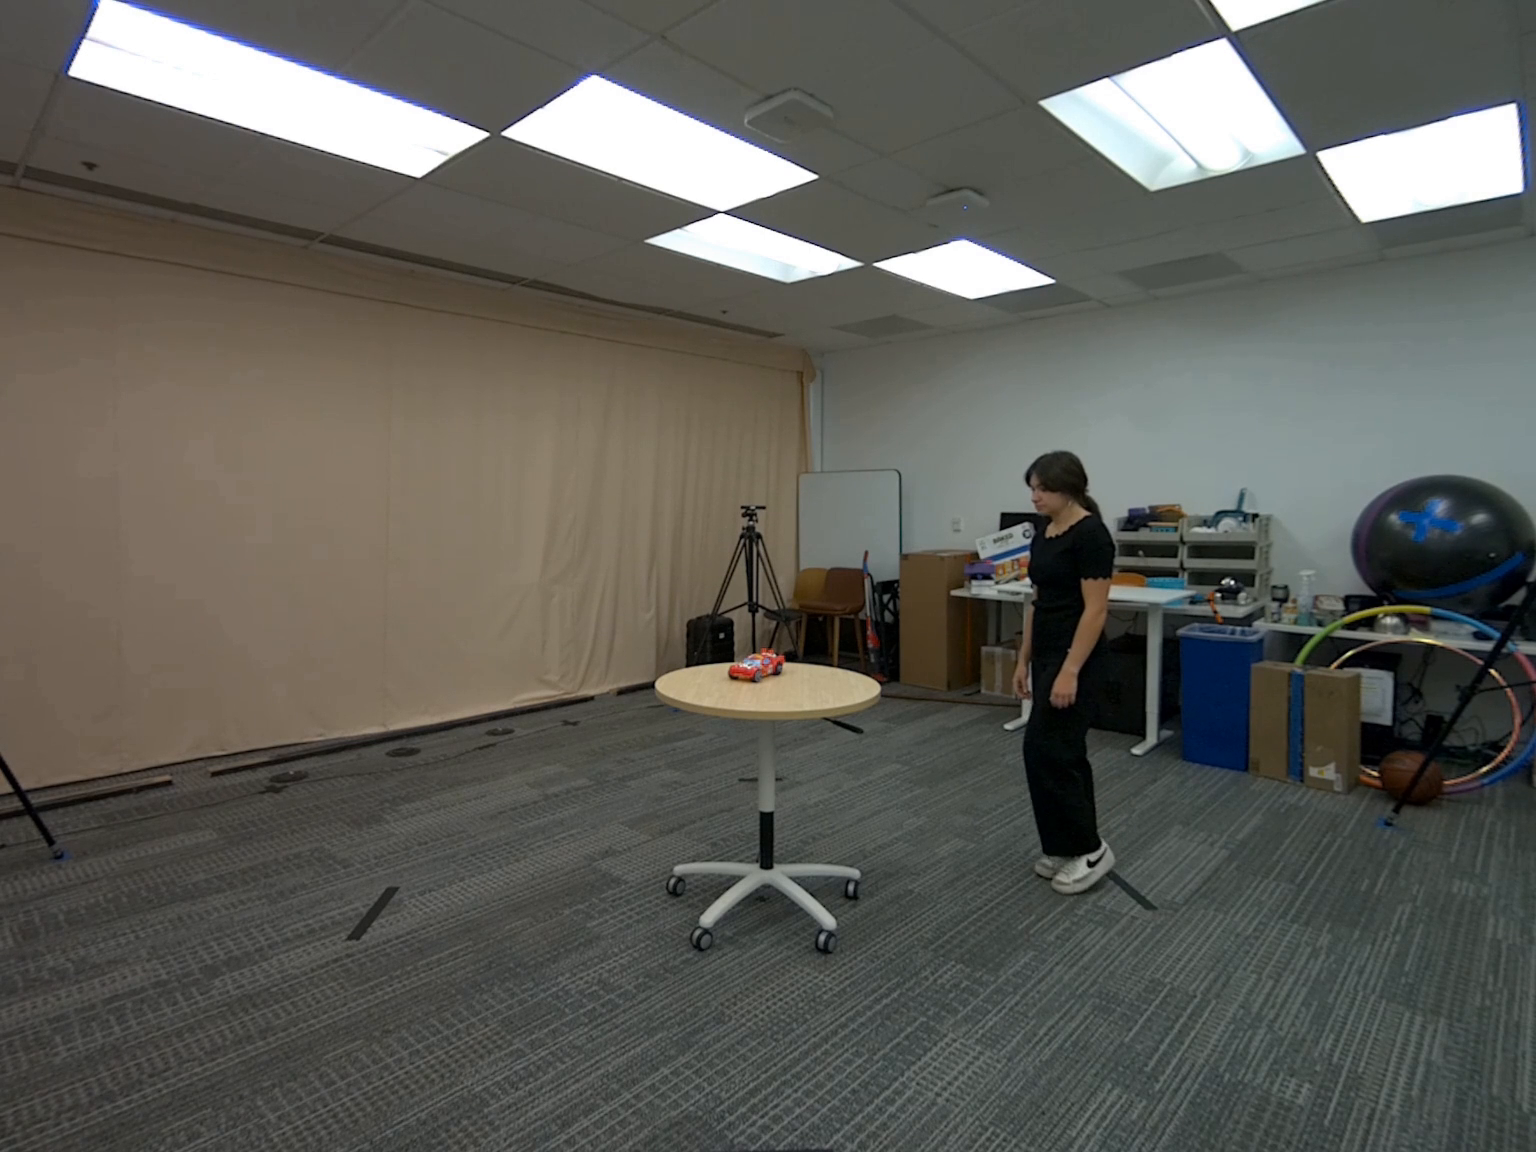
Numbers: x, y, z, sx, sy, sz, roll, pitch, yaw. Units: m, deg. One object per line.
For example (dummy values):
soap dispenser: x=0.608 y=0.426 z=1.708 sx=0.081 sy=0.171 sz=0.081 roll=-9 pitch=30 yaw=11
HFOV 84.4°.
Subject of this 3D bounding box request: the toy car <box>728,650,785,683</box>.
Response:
toy car: x=-0.027 y=0.328 z=3.007 sx=0.134 sy=0.082 sz=0.249 roll=4 pitch=17 yaw=32
